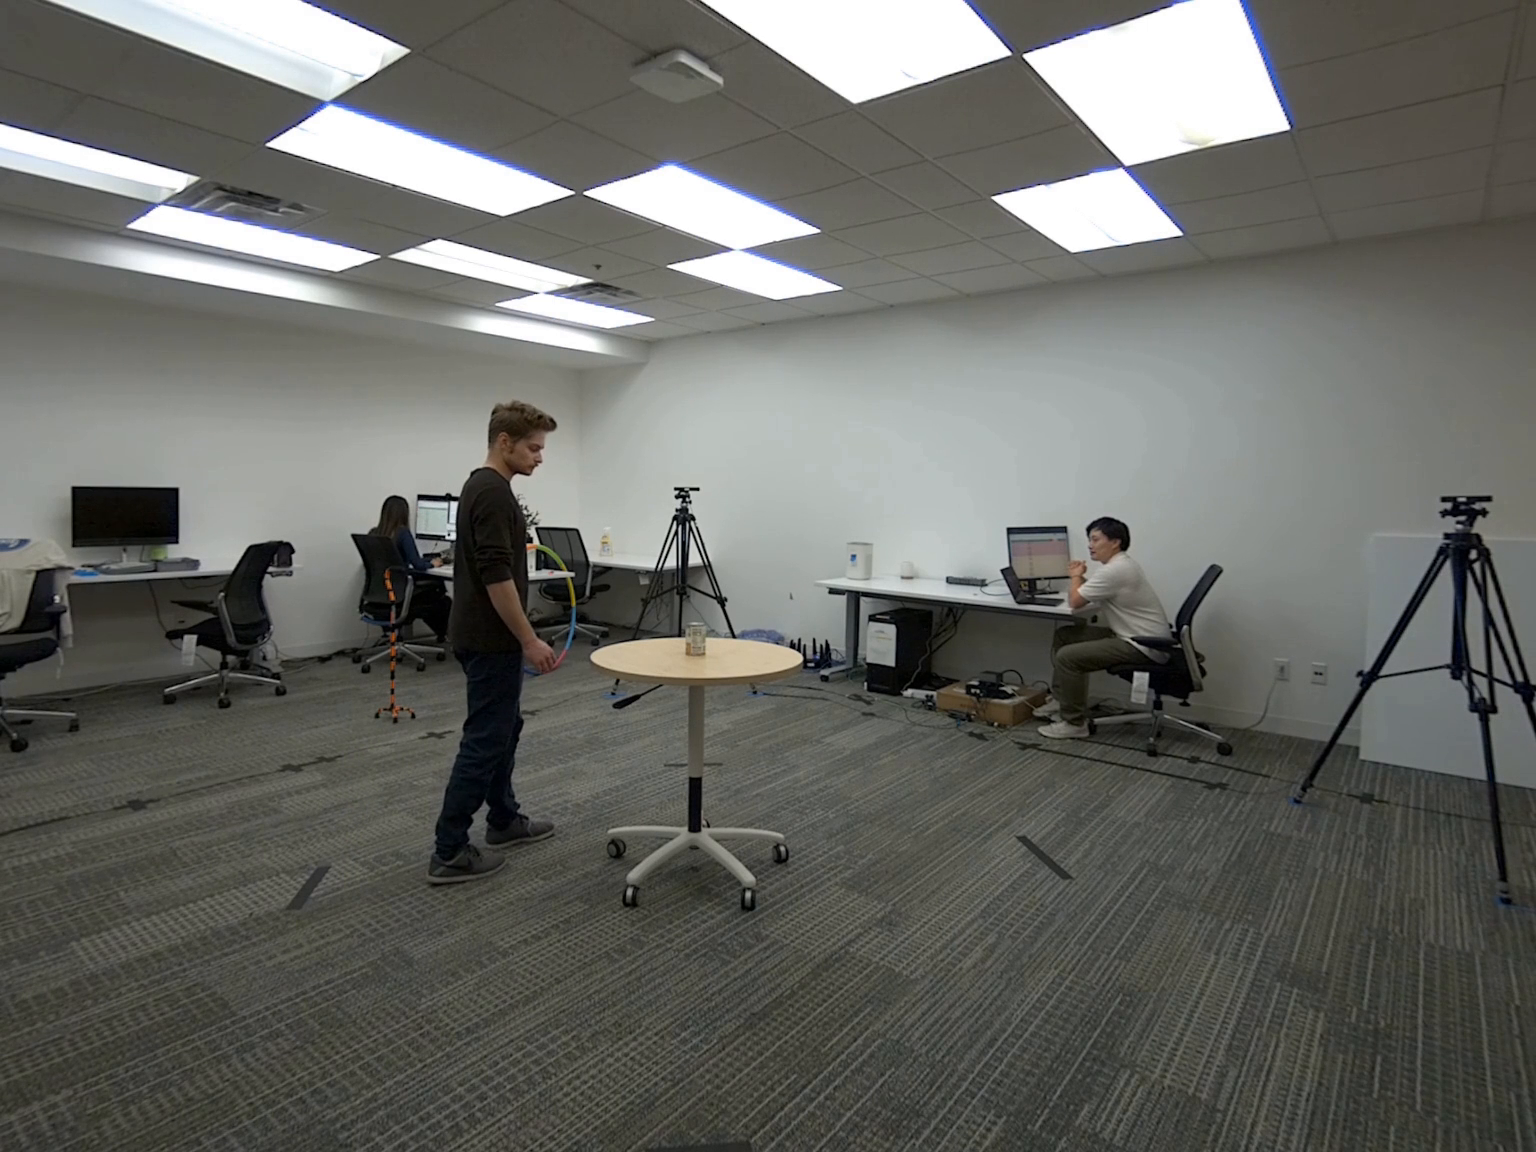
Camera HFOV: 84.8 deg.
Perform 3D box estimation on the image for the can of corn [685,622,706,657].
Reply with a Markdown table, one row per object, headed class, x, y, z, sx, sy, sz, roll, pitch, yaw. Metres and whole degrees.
| class | x | y | z | sx | sy | sz | roll | pitch | yaw |
| --- | --- | --- | --- | --- | --- | --- | --- | --- | --- |
| can of corn | -0.276 | 0.230 | 3.092 | 0.074 | 0.110 | 0.074 | 0 | 4 | -2 |
